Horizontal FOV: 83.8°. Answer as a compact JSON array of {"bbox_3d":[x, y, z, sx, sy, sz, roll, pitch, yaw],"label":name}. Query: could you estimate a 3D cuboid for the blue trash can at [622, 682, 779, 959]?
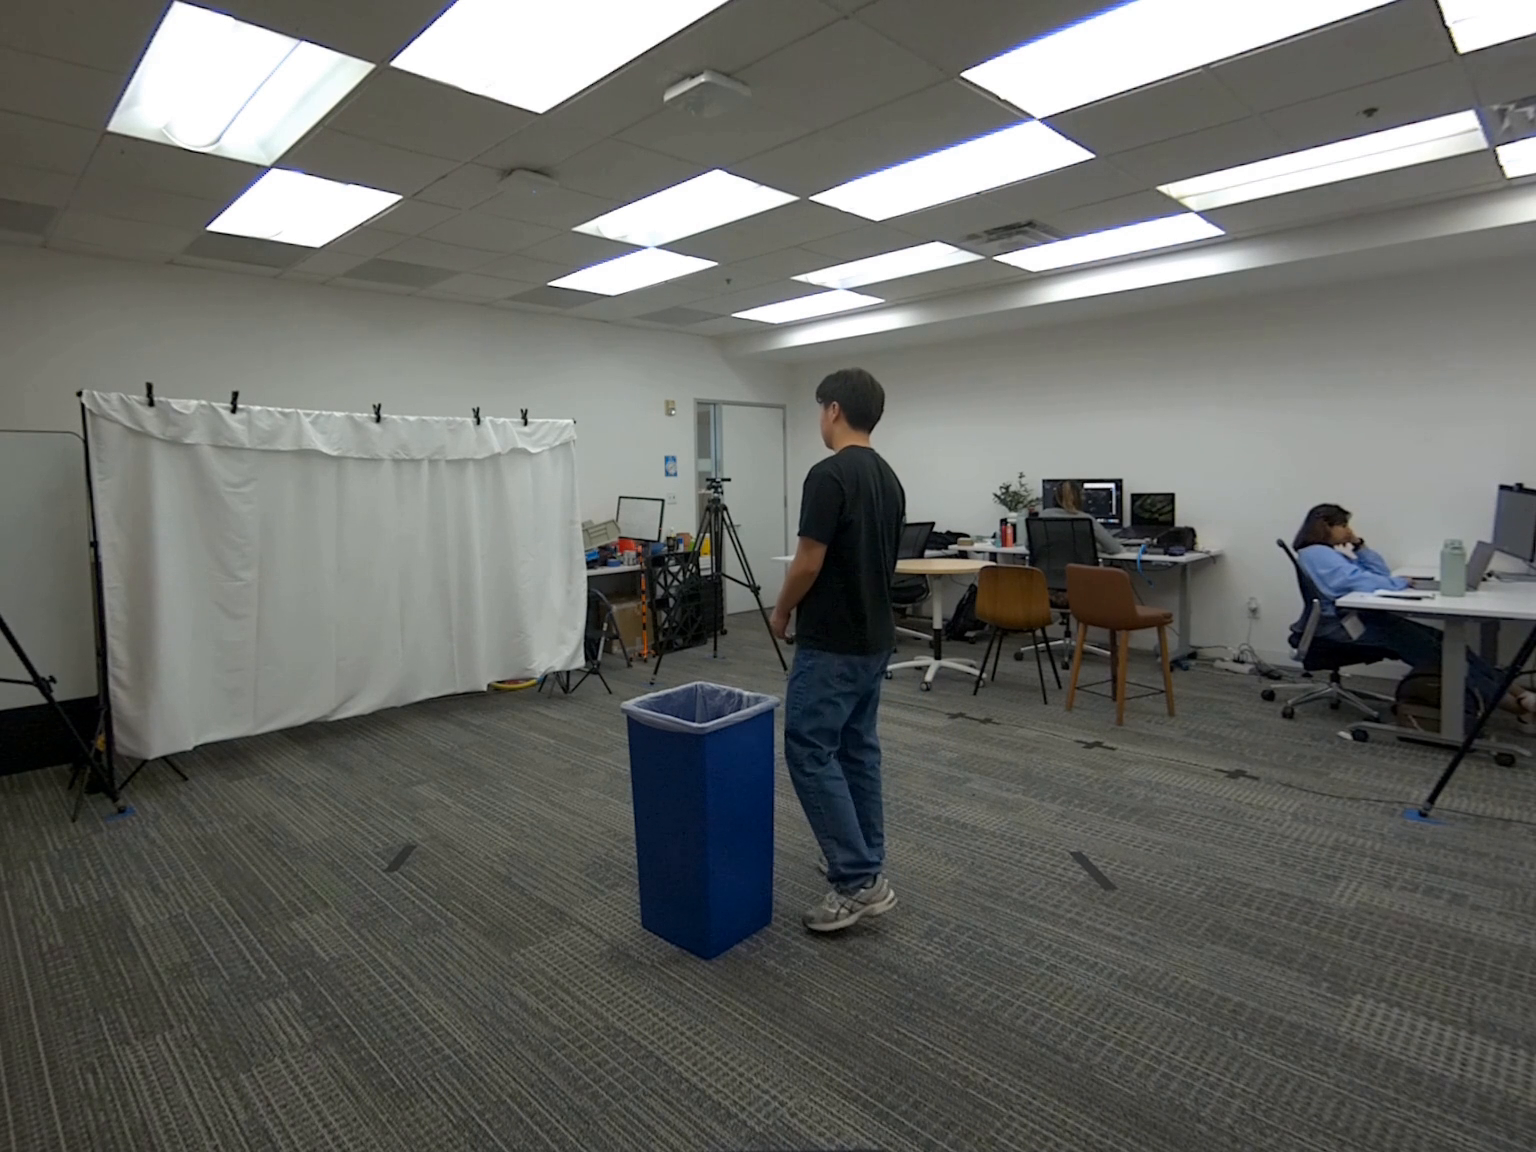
[{"bbox_3d":[-0.194,0.738,2.656,0.389,0.711,0.364,2,5,41],"label":"blue trash can"}]
